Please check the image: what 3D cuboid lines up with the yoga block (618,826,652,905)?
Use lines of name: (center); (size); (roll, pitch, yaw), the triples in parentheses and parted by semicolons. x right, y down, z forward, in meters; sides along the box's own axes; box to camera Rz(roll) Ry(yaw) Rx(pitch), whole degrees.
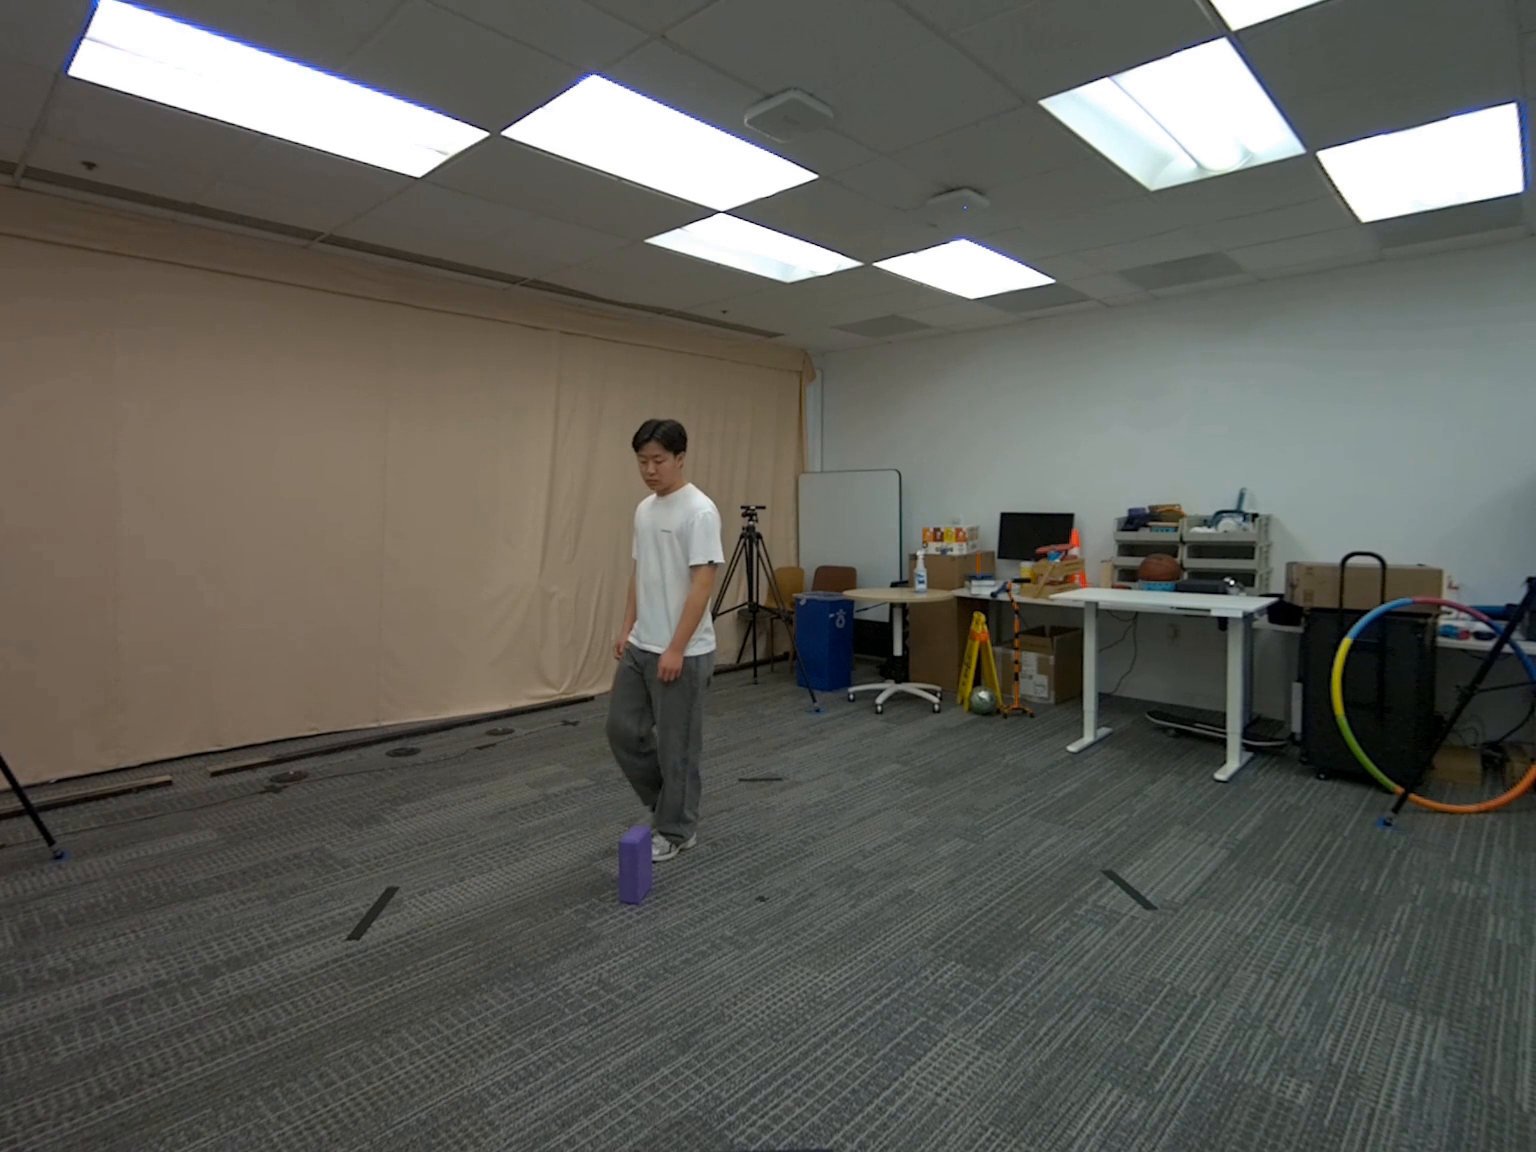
yoga block: (-0.476, 1.024, 3.012); (0.078, 0.228, 0.147); (0, 5, 14)
